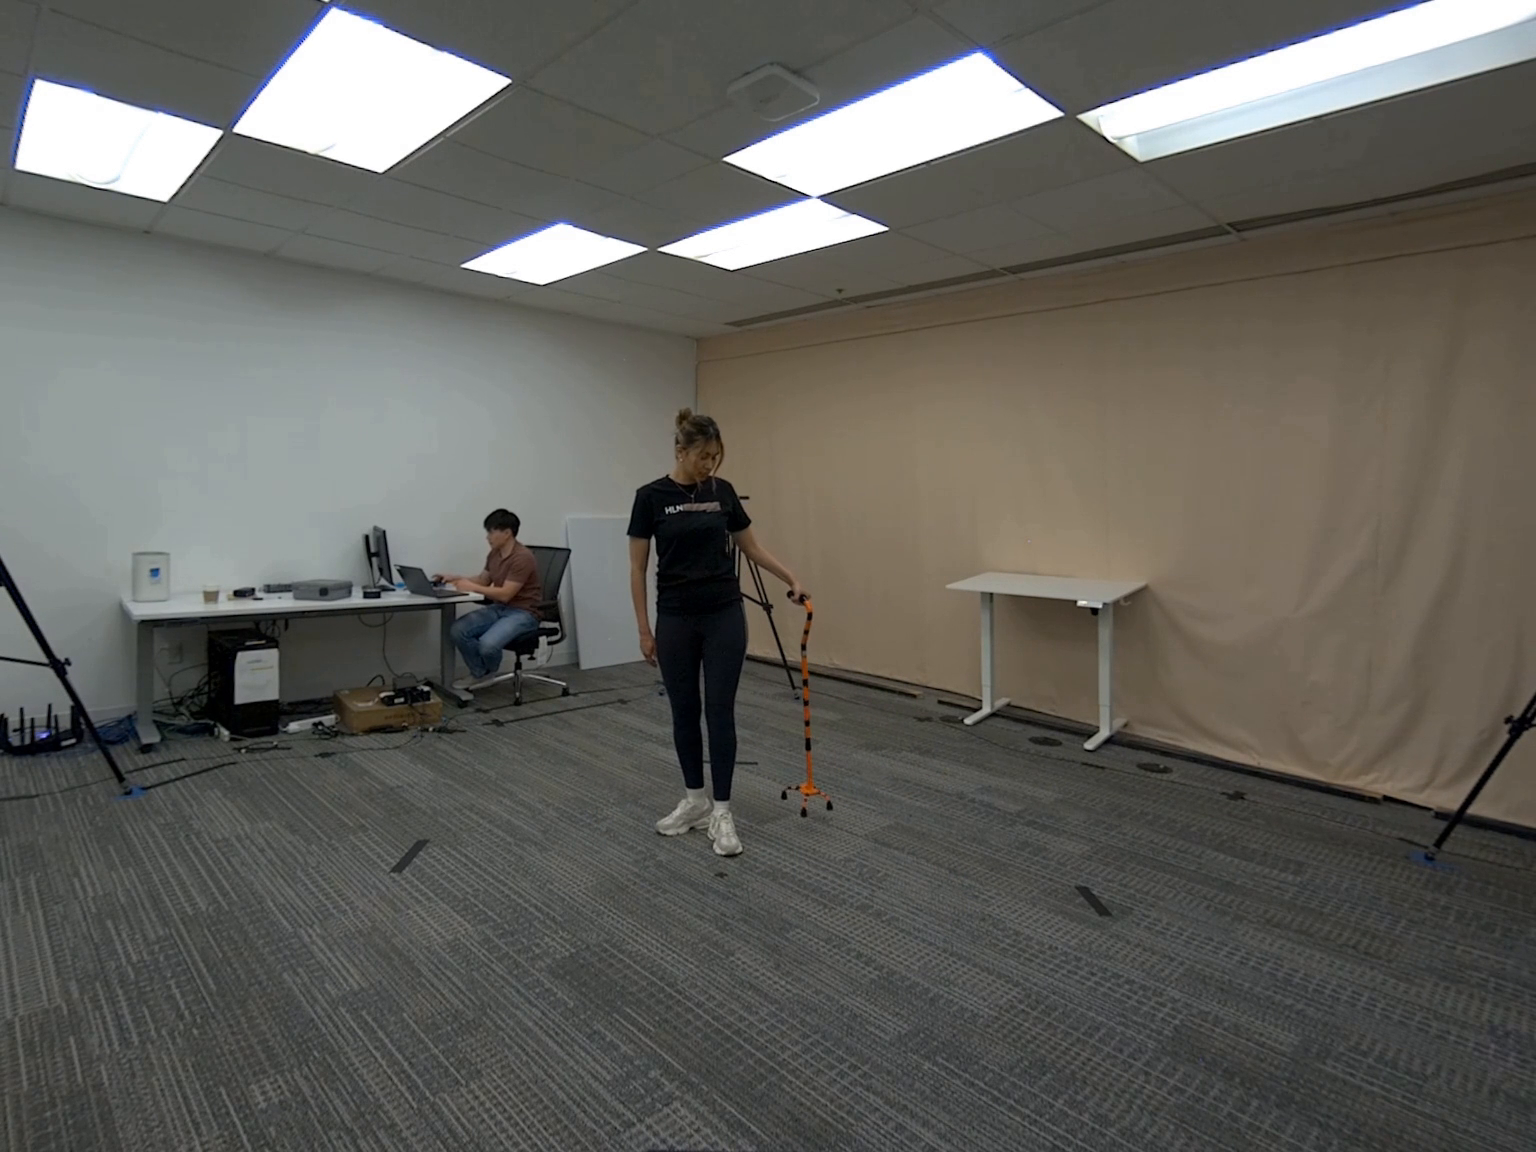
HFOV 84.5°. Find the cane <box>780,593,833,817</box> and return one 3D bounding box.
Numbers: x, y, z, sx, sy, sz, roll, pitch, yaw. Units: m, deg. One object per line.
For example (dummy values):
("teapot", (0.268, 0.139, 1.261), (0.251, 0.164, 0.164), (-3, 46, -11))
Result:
("cane", (0.139, 0.523, 3.510), (0.149, 0.901, 0.211), (-6, 10, -25))
